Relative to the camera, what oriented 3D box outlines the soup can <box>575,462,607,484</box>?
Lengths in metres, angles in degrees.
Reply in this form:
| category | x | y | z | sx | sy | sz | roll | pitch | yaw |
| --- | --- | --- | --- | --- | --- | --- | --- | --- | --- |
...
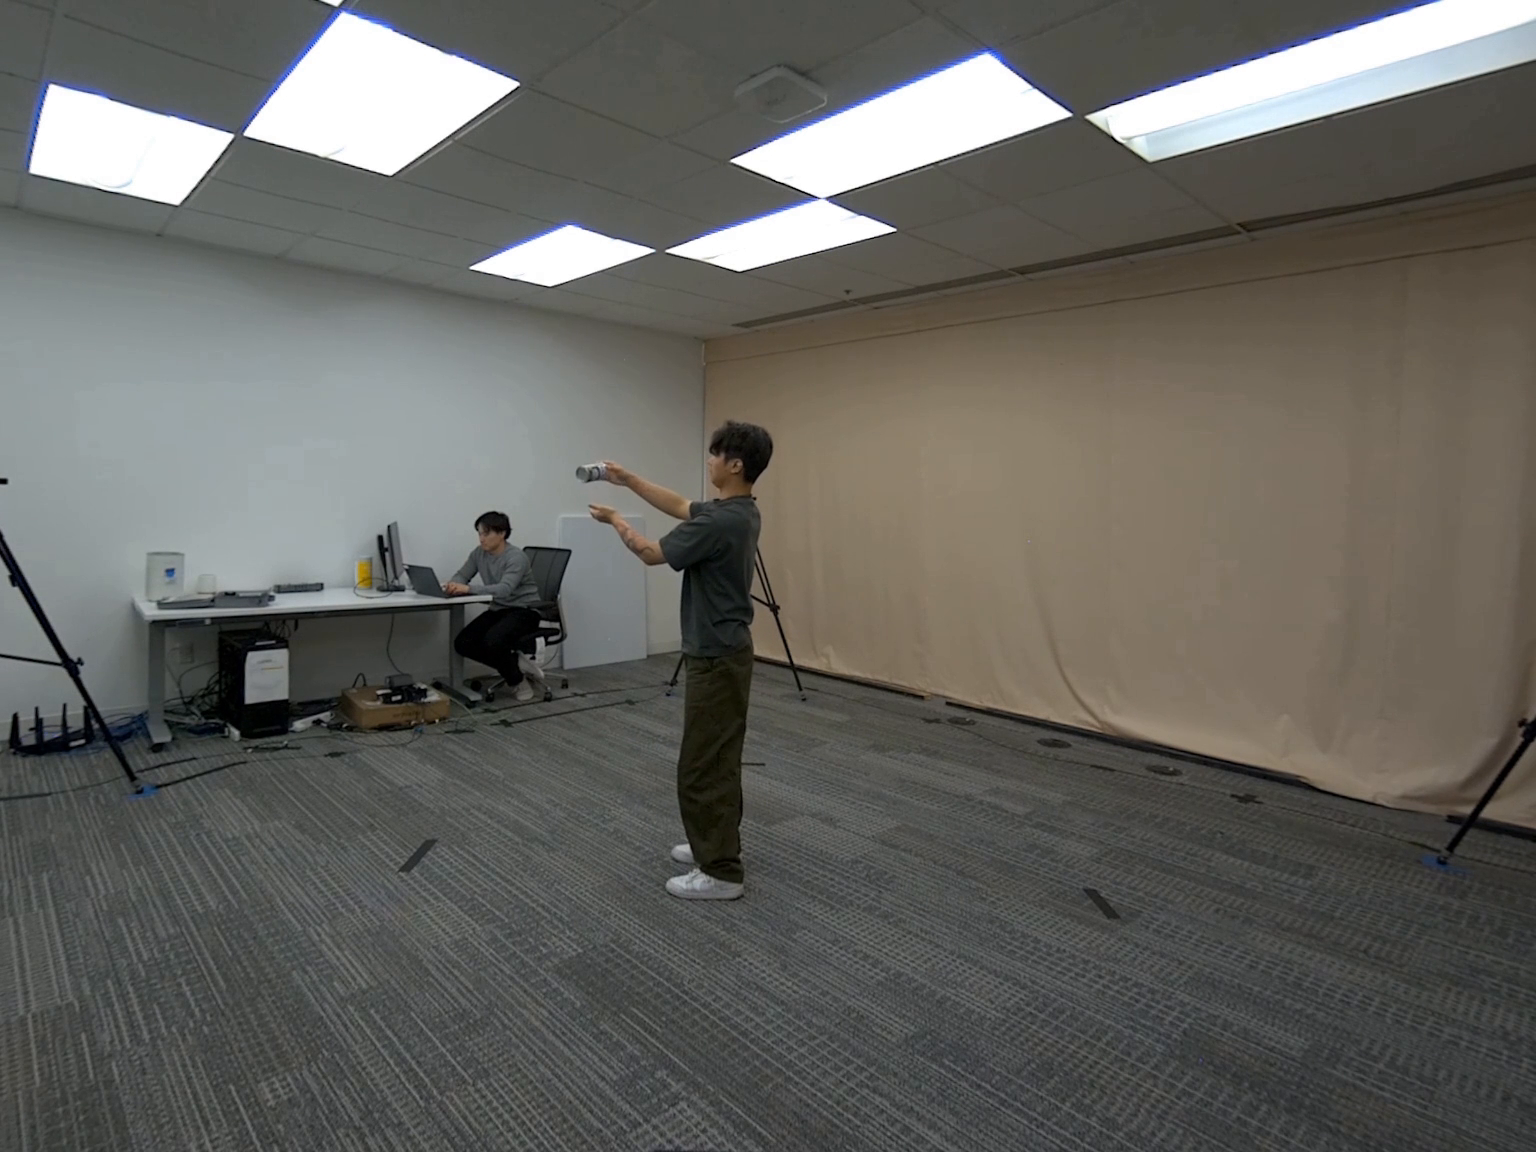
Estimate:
| category | x | y | z | sx | sy | sz | roll | pitch | yaw |
| --- | --- | --- | --- | --- | --- | --- | --- | --- | --- |
| soup can | -0.696 | -0.397 | 3.240 | 0.068 | 0.066 | 0.120 | 4 | 14 | 31 |
